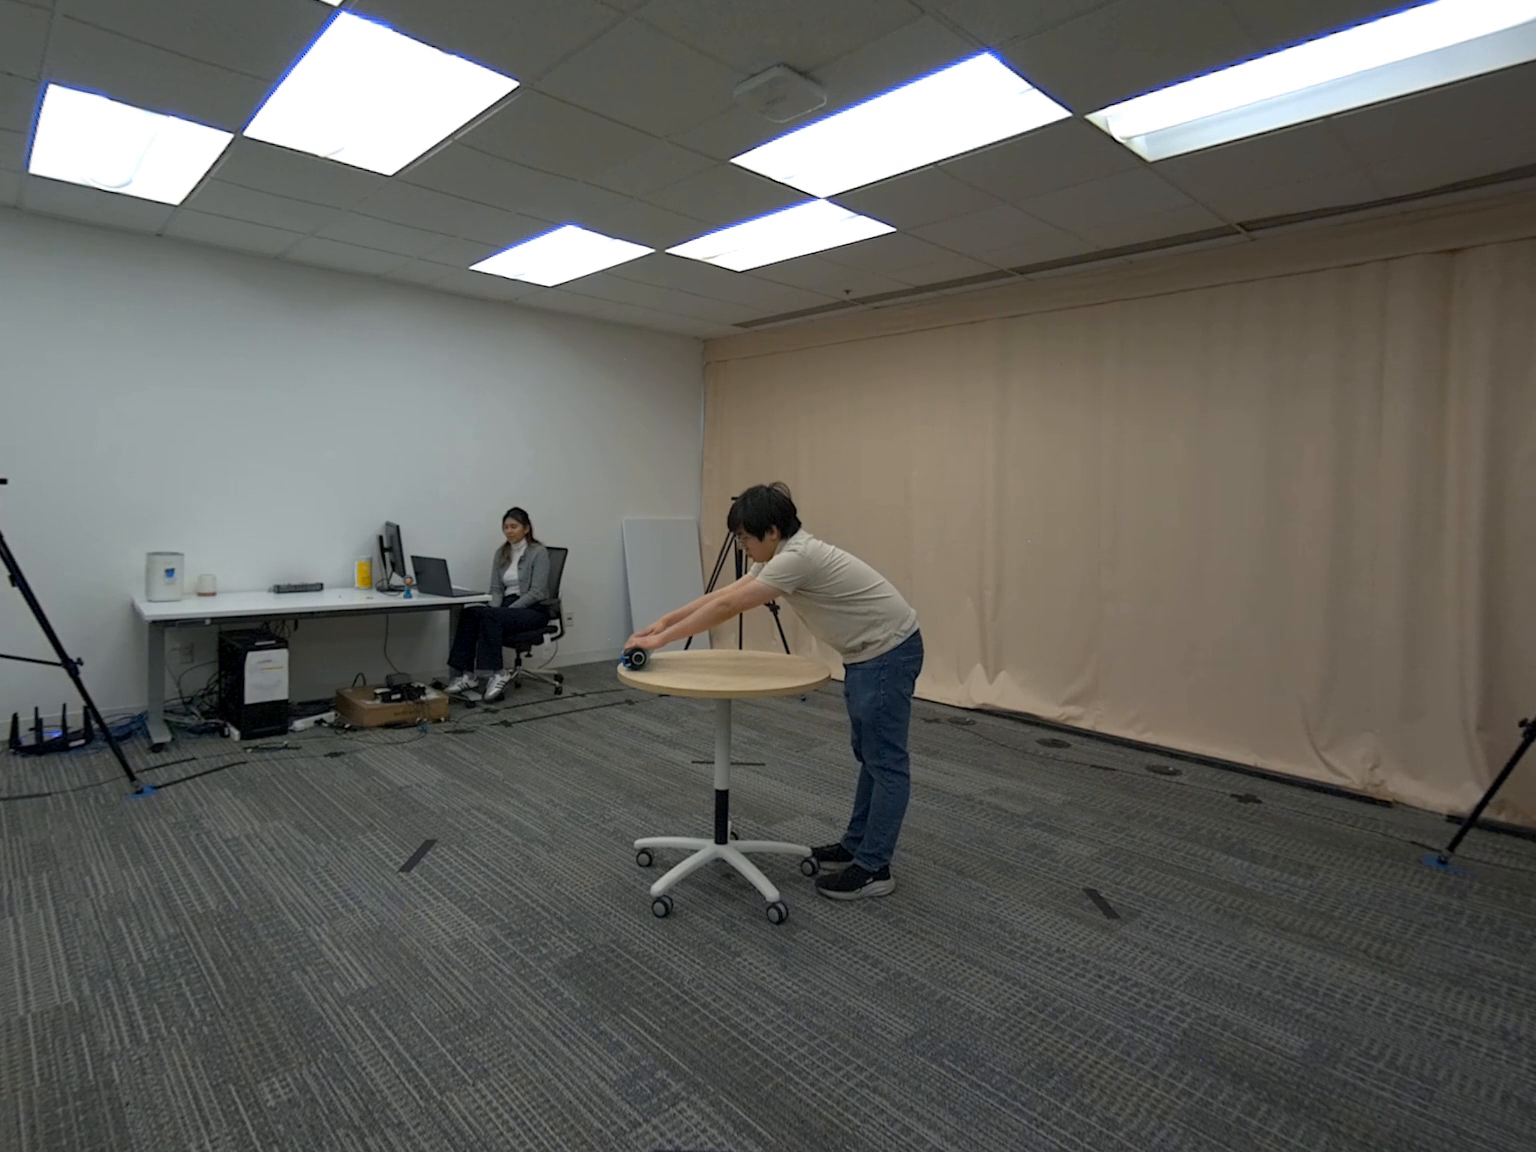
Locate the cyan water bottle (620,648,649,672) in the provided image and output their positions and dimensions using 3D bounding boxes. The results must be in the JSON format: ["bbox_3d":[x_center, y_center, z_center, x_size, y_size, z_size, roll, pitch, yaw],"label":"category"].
[{"bbox_3d":[-0.475,0.282,3.048,0.092,0.092,0.284,2,6,2],"label":"cyan water bottle"}]
